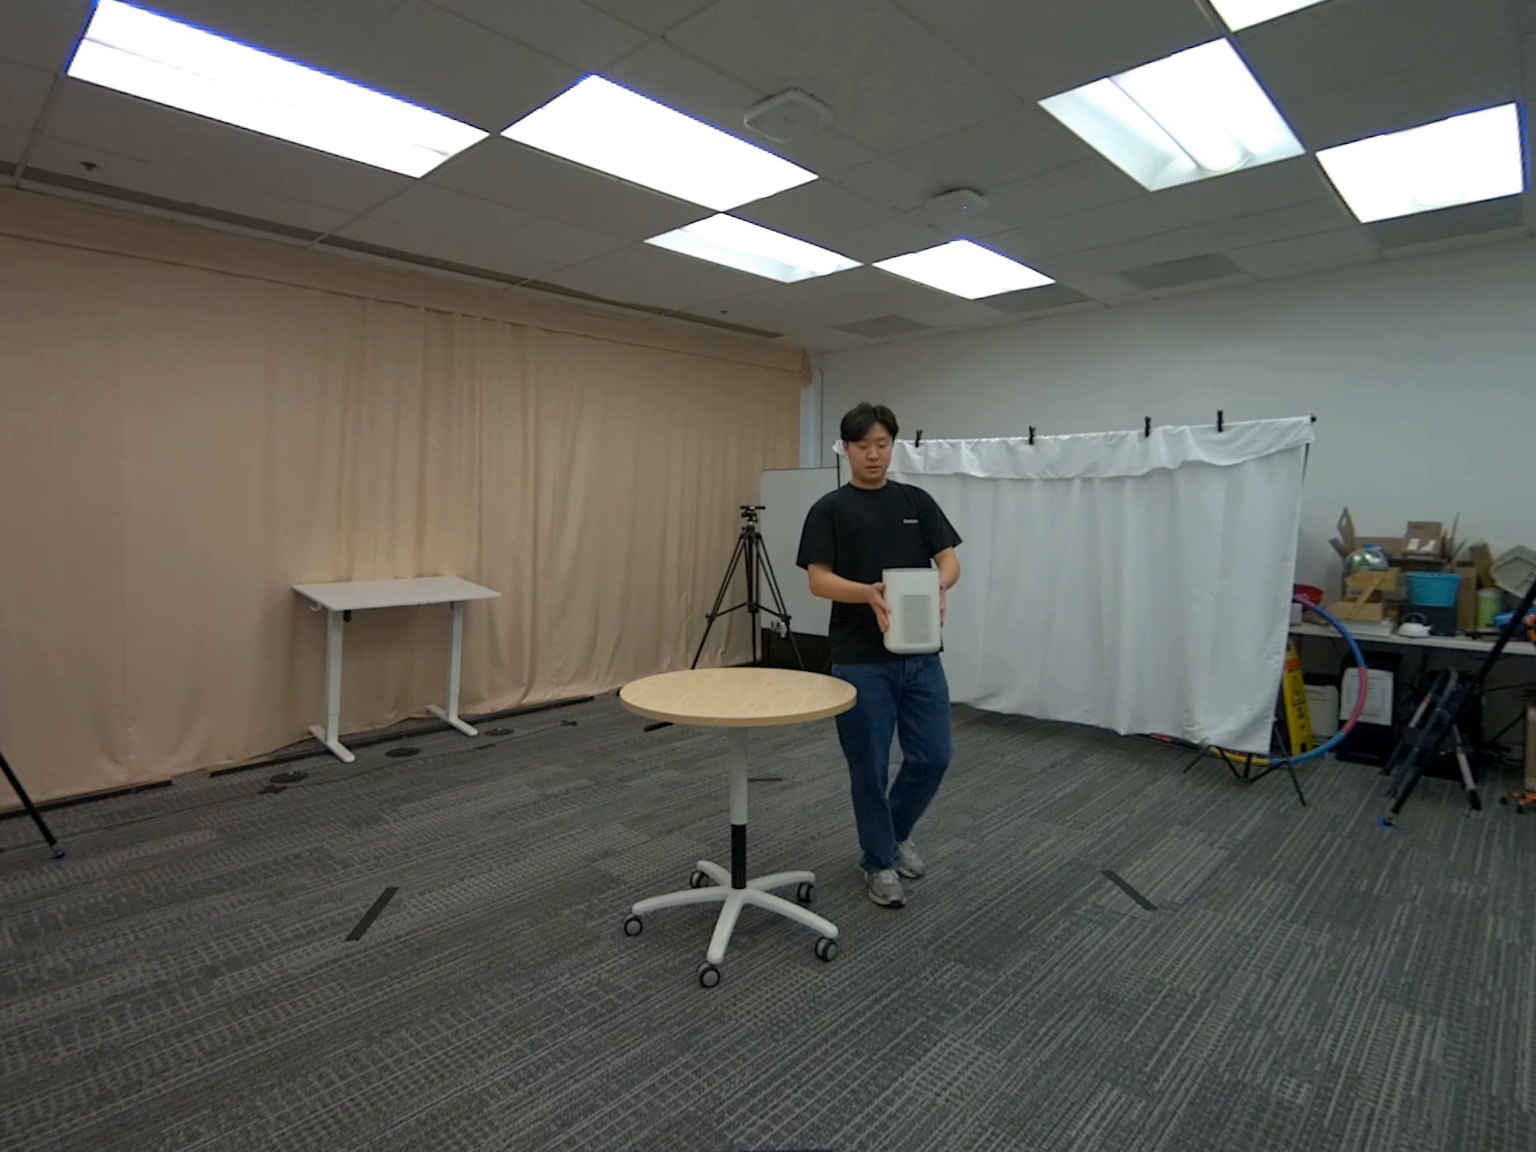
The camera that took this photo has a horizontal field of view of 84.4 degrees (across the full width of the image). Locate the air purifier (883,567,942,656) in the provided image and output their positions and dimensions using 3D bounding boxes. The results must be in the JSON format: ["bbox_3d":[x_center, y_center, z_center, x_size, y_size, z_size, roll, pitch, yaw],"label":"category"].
[{"bbox_3d":[0.457,0.114,2.709,0.172,0.265,0.170,-1,0,2],"label":"air purifier"}]
